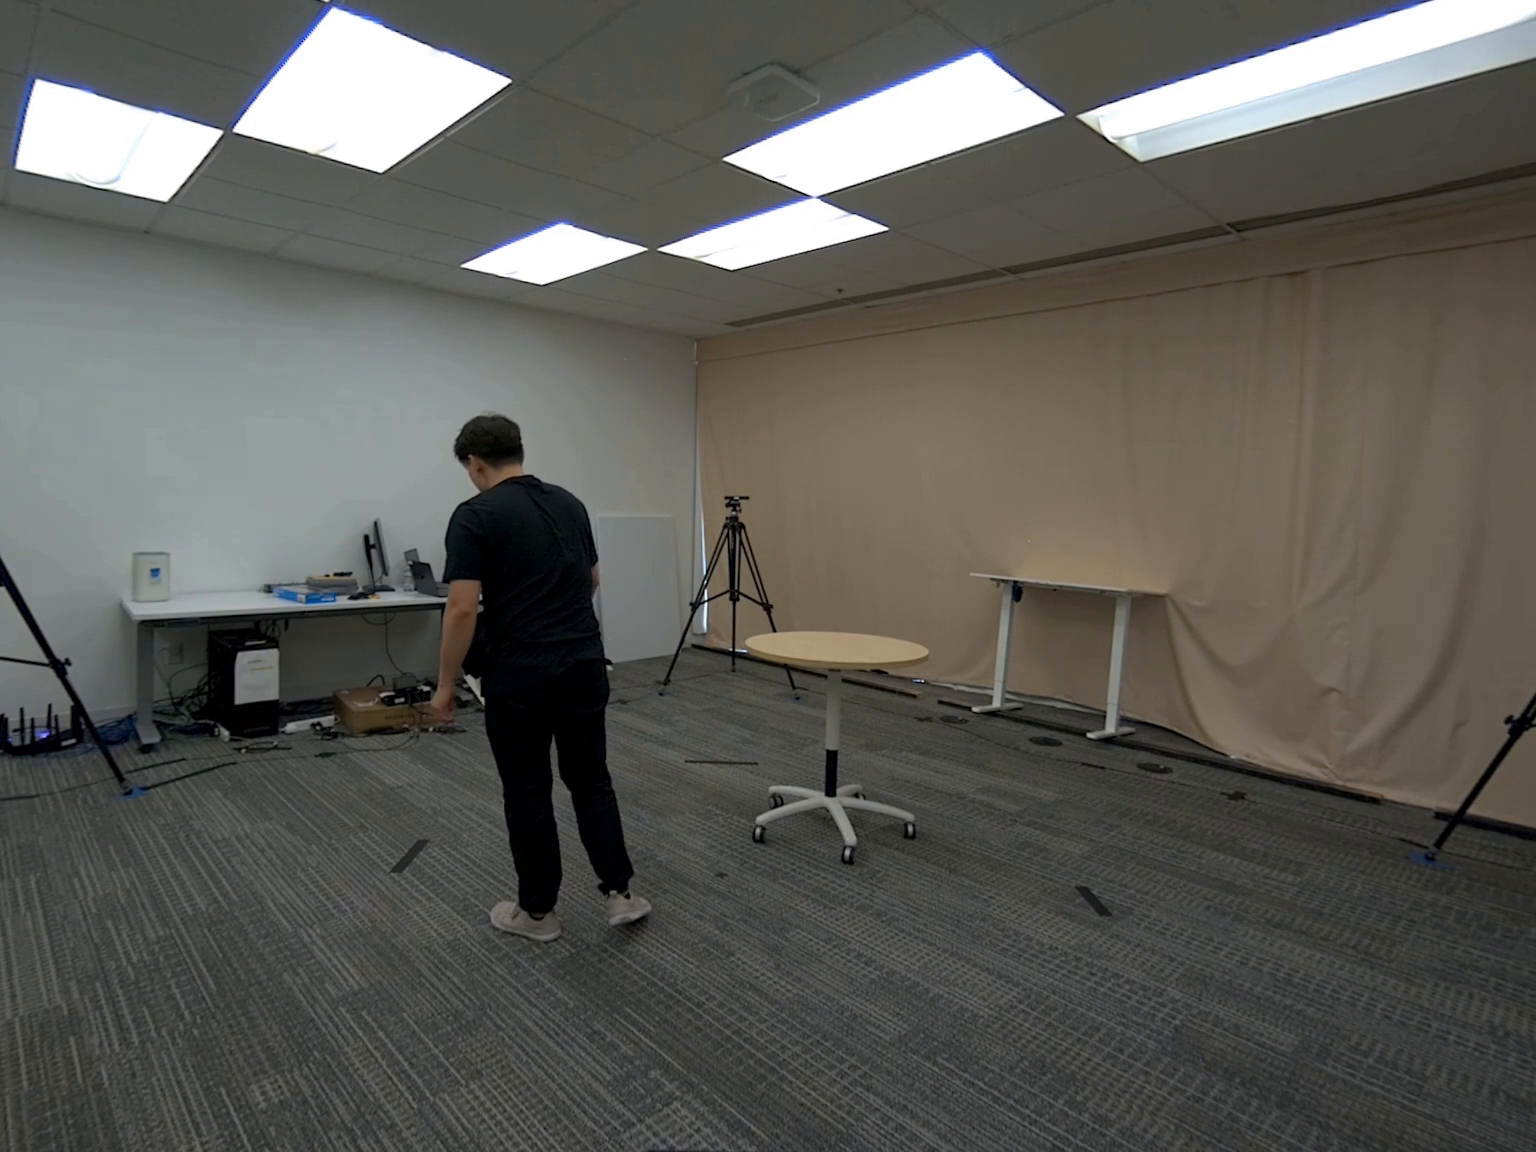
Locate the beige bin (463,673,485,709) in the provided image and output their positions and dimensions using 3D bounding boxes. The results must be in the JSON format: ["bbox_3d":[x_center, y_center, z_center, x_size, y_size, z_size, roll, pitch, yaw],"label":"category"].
[{"bbox_3d":[-0.861,0.361,3.117,0.389,0.422,0.183,35,-18,40],"label":"beige bin"}]
